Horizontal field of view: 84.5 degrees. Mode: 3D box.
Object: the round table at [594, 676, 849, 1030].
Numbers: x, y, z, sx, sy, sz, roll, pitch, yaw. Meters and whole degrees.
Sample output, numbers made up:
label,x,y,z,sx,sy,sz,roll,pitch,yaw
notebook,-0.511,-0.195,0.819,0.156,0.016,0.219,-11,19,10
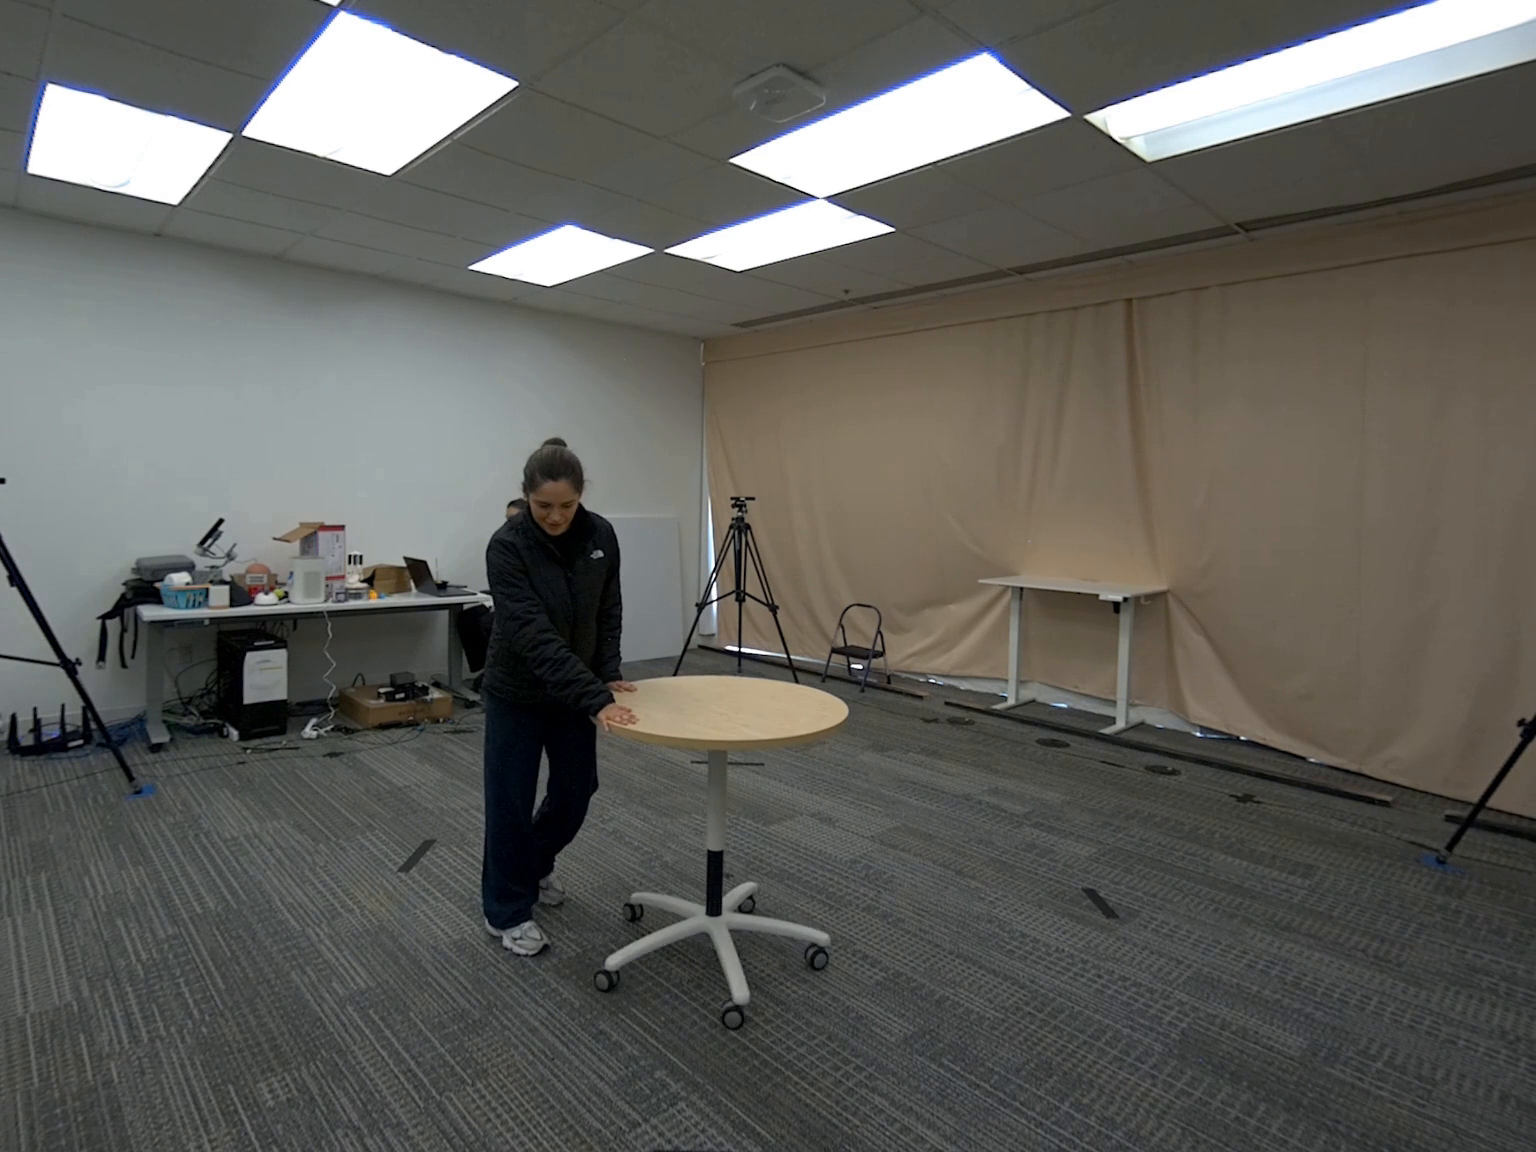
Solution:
label,x,y,z,sx,sy,sz,roll,pitch,yaw
round table,-0.172,0.769,2.500,0.784,0.784,0.788,2,4,-1
